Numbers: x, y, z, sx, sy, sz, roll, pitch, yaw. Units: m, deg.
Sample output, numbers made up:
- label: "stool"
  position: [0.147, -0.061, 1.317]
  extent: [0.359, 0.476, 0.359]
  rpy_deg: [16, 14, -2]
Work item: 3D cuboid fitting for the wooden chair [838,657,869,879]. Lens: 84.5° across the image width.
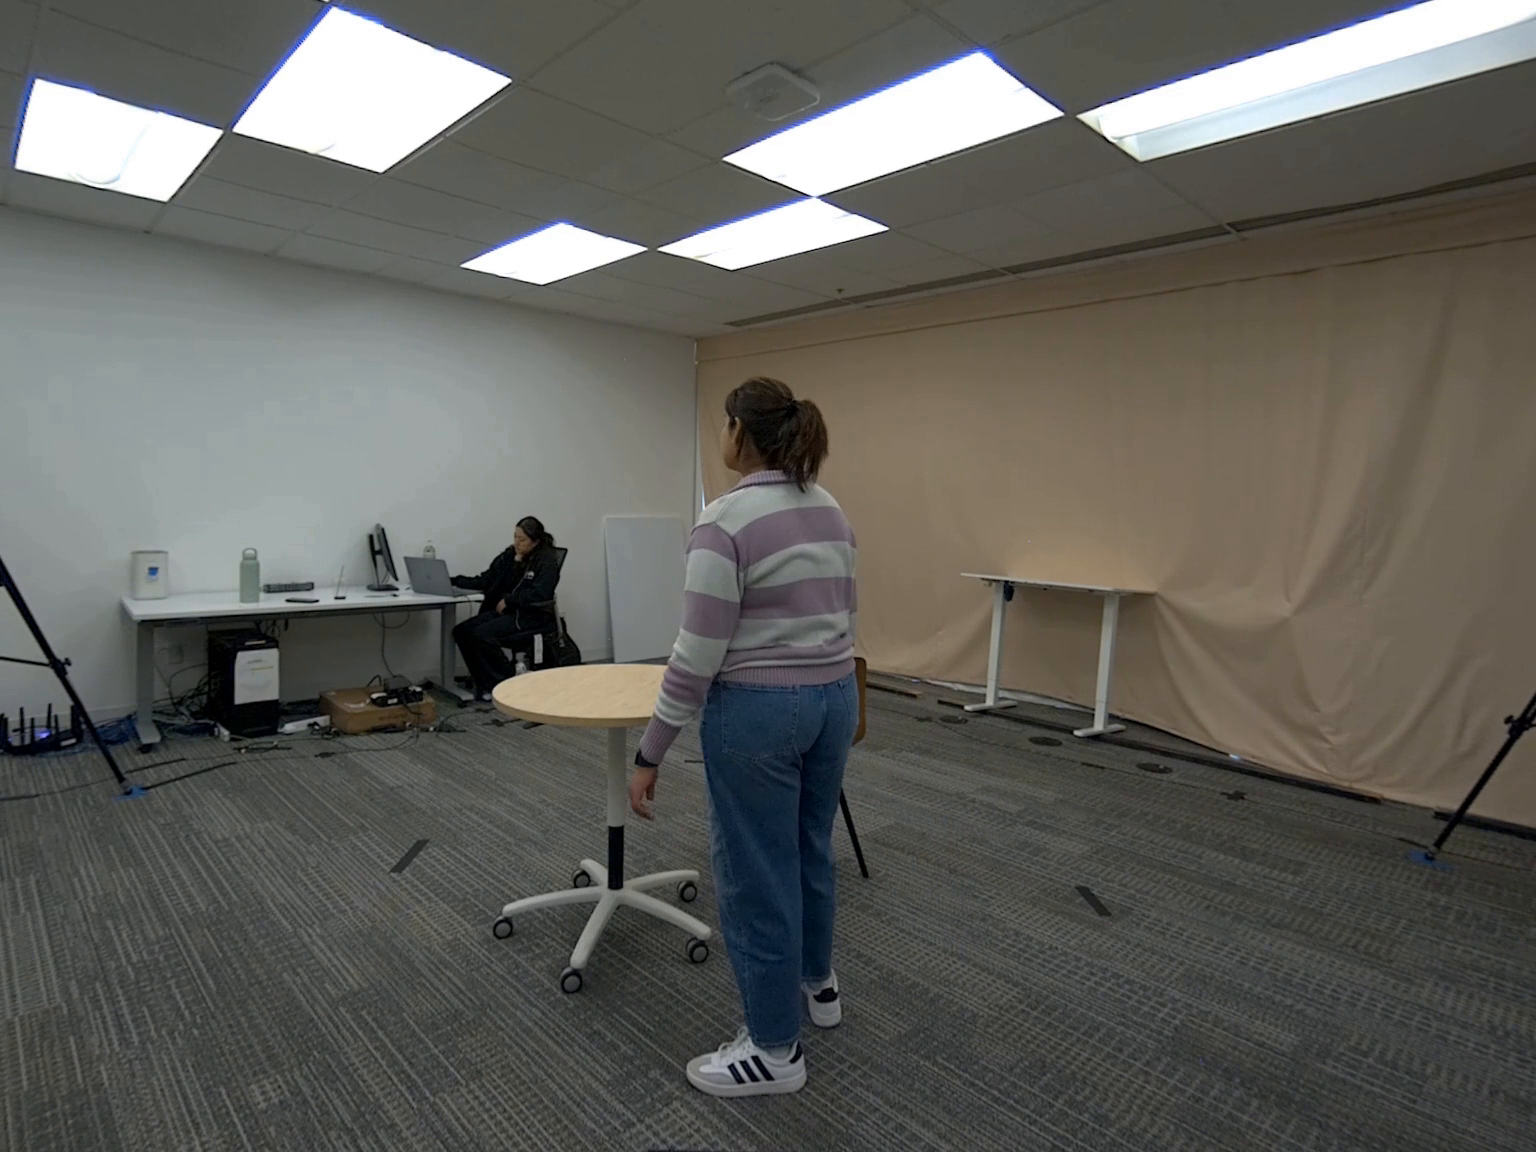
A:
- label: "wooden chair"
  position: [0.077, 0.675, 3.207]
  extent: [0.470, 0.873, 0.535]
  rpy_deg: [0, 8, -25]
